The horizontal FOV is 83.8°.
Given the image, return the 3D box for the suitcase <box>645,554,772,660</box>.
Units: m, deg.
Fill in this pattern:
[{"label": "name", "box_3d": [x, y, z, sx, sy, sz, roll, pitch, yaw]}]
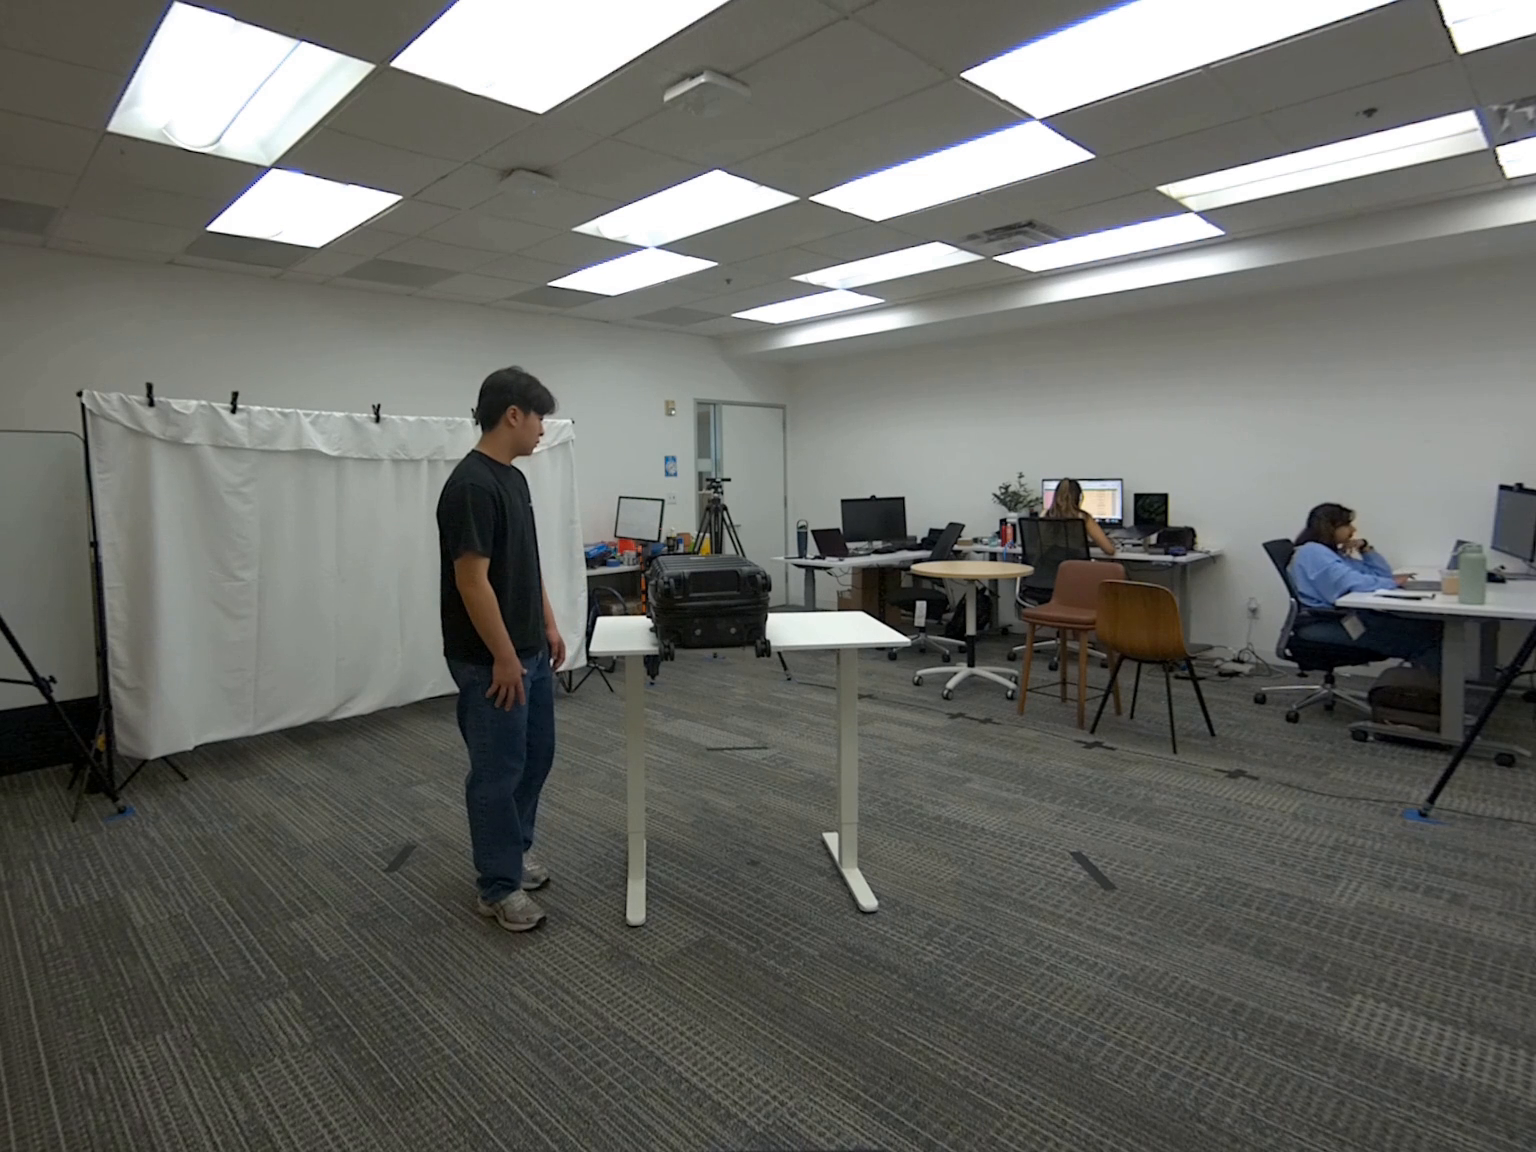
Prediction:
[{"label": "suitcase", "box_3d": [-0.240, 0.048, 2.999, 0.381, 0.255, 0.993, -2, 9, -9]}]
